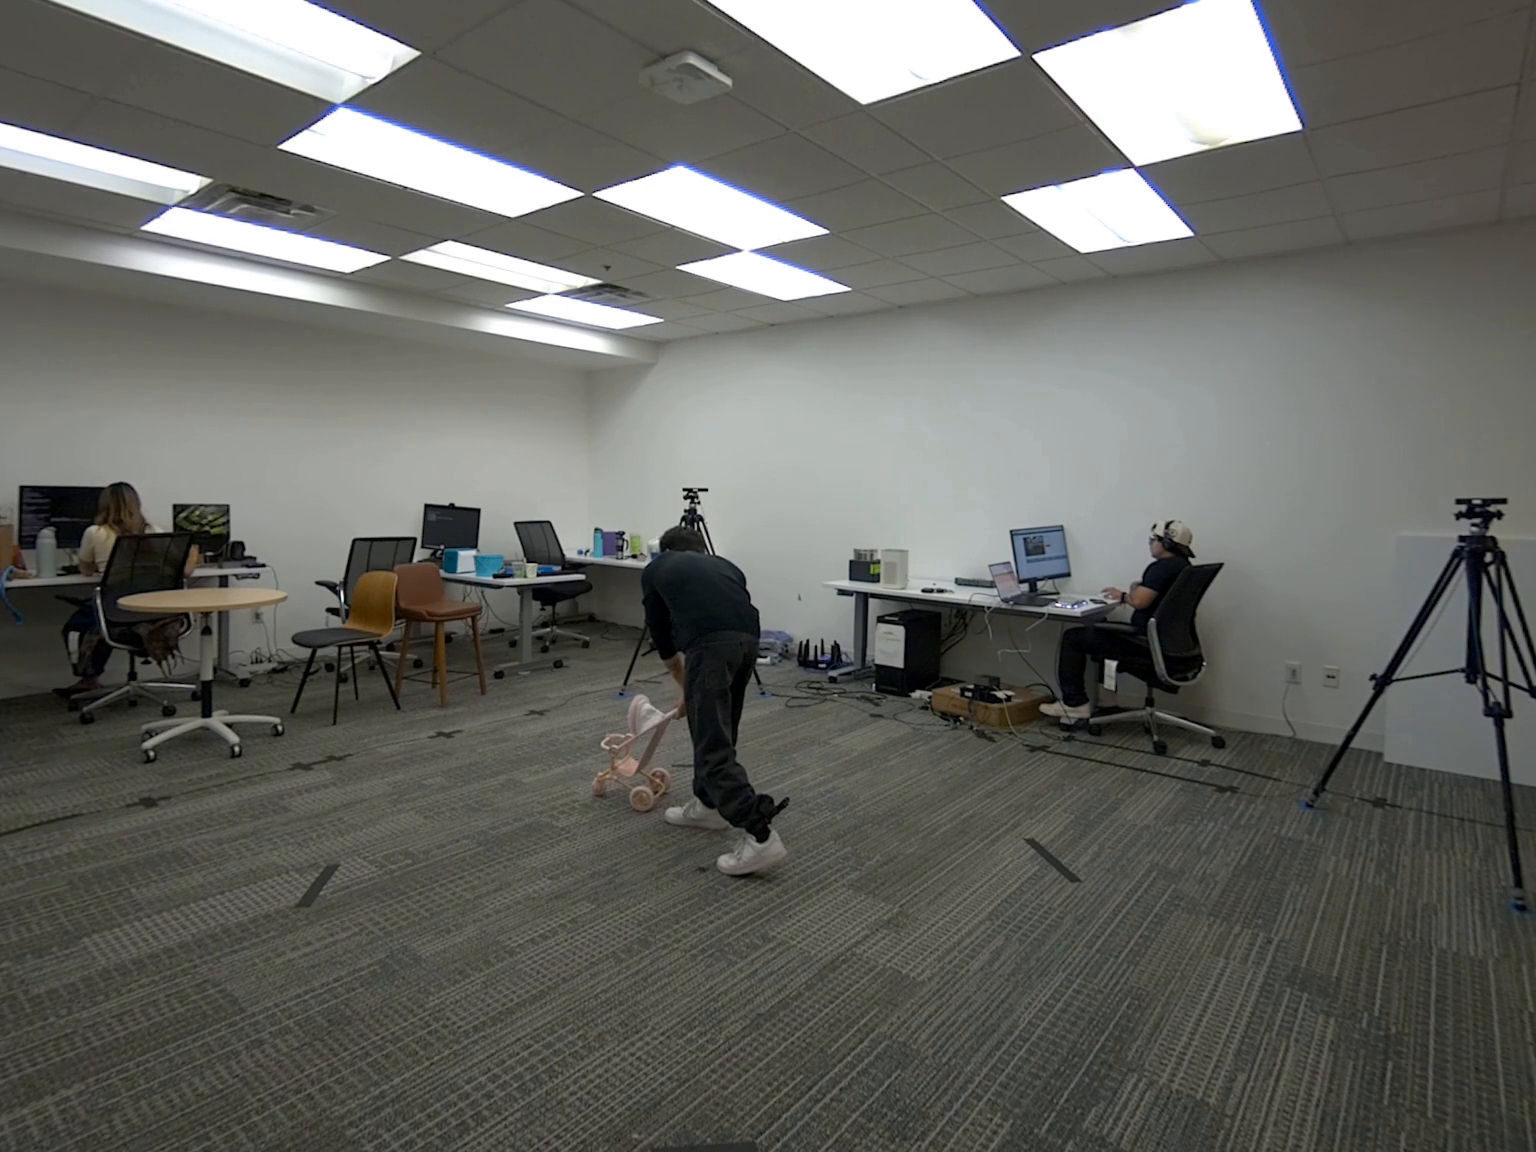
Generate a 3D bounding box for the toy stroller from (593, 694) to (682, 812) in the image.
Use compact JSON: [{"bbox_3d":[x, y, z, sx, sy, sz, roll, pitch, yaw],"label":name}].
[{"bbox_3d":[-0.597,0.771,3.794,0.349,0.532,0.277,17,8,16],"label":"toy stroller"}]
